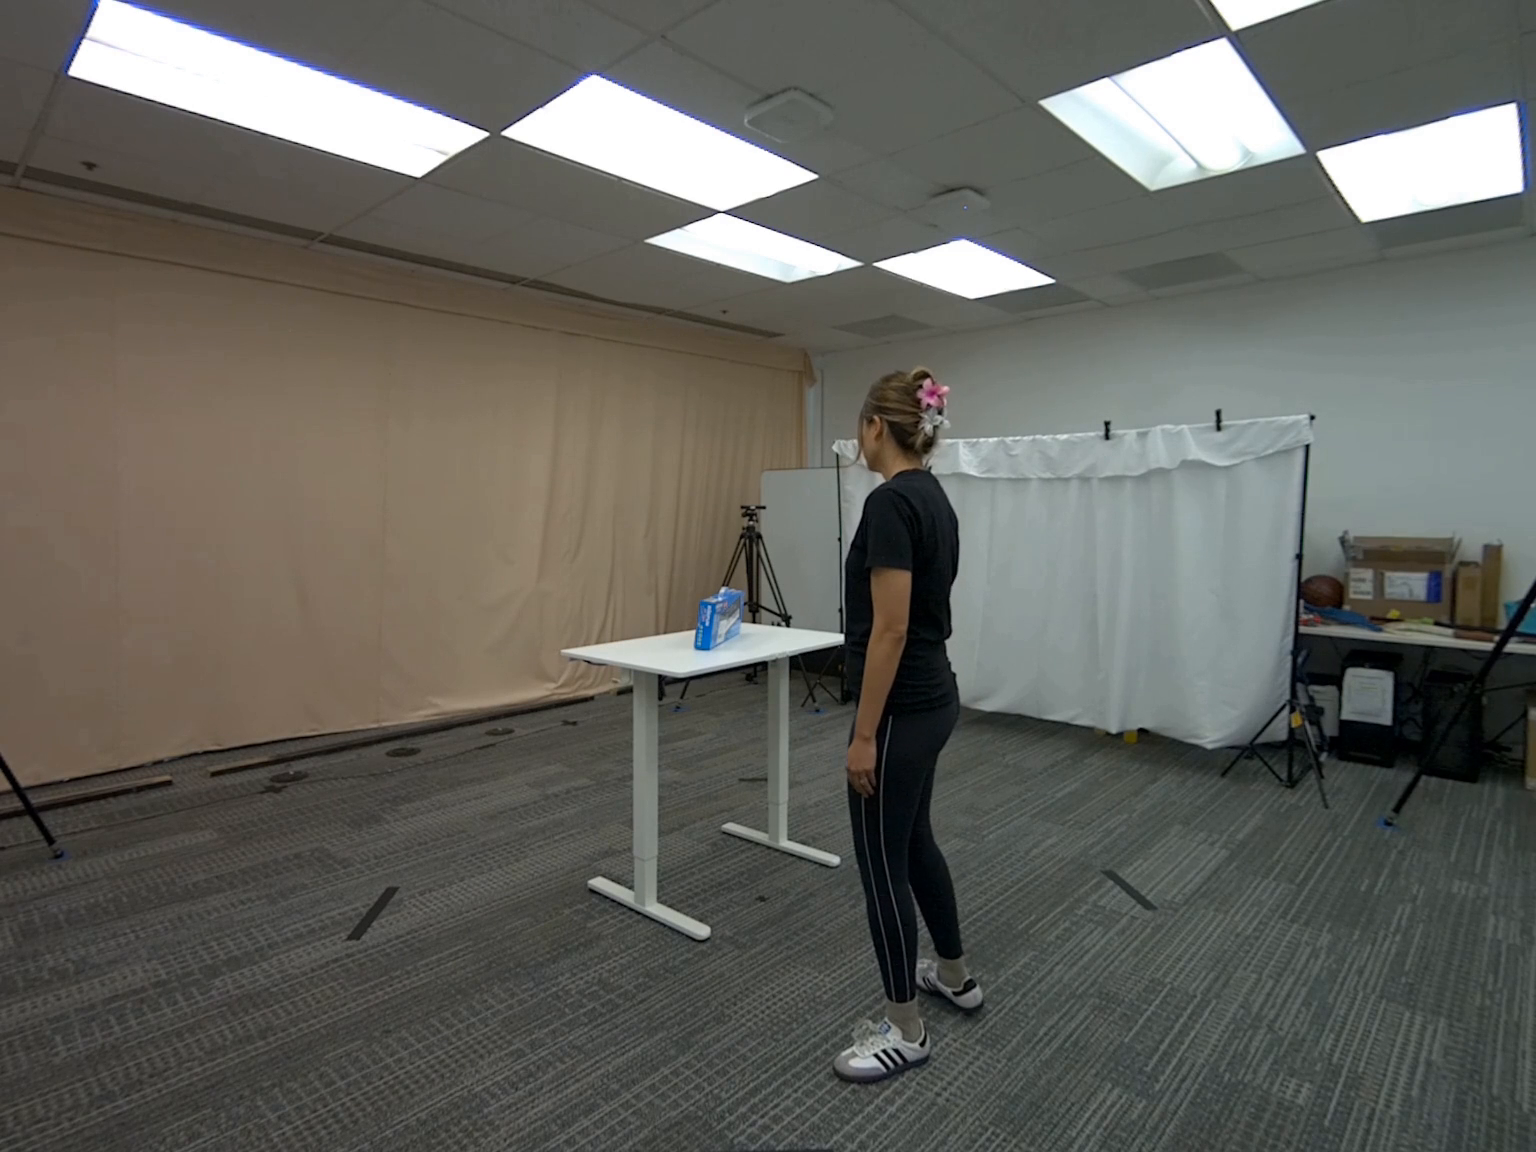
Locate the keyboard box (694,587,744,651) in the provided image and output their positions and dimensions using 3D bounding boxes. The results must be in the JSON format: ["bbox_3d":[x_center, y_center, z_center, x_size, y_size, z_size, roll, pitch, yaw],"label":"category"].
[{"bbox_3d":[-0.175,0.159,3.167,0.060,0.175,0.431,8,5,12],"label":"keyboard box"}]
